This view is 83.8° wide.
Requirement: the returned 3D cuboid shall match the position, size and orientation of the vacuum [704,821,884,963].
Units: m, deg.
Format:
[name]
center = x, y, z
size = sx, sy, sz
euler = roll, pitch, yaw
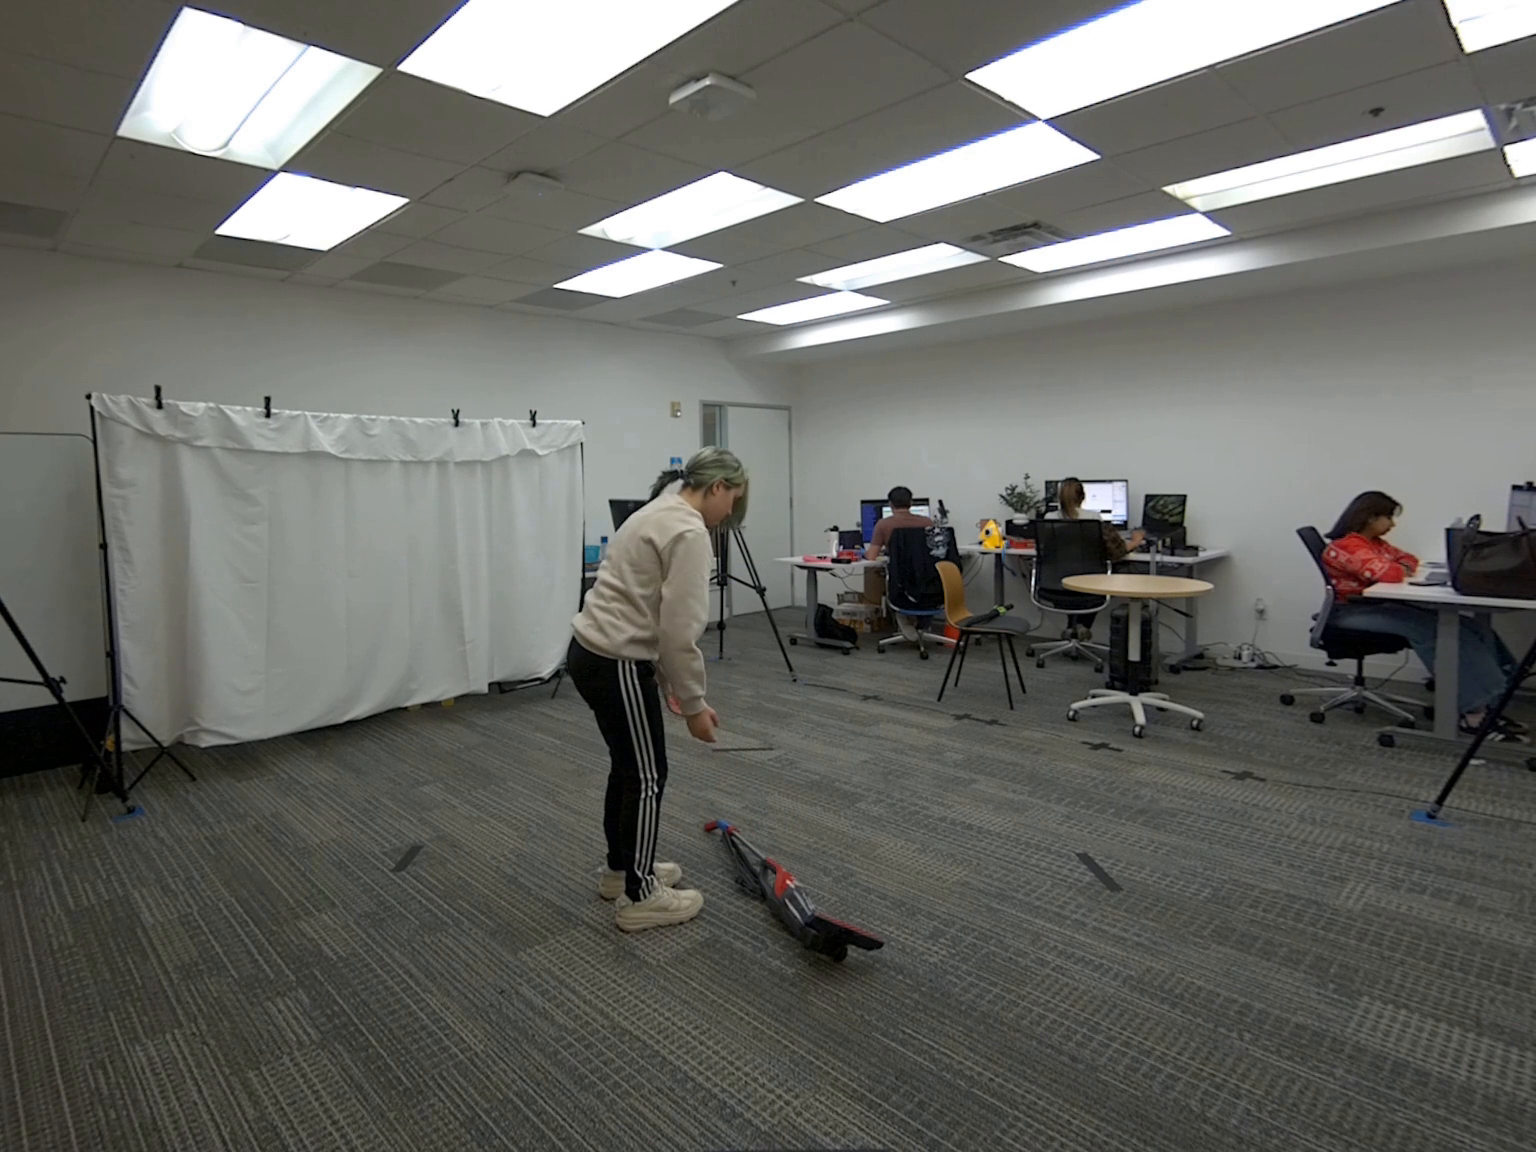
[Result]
[vacuum]
center = -0.022, 1.020, 2.916
size = 0.247, 0.144, 1.070
euler = 31, -11, -20
